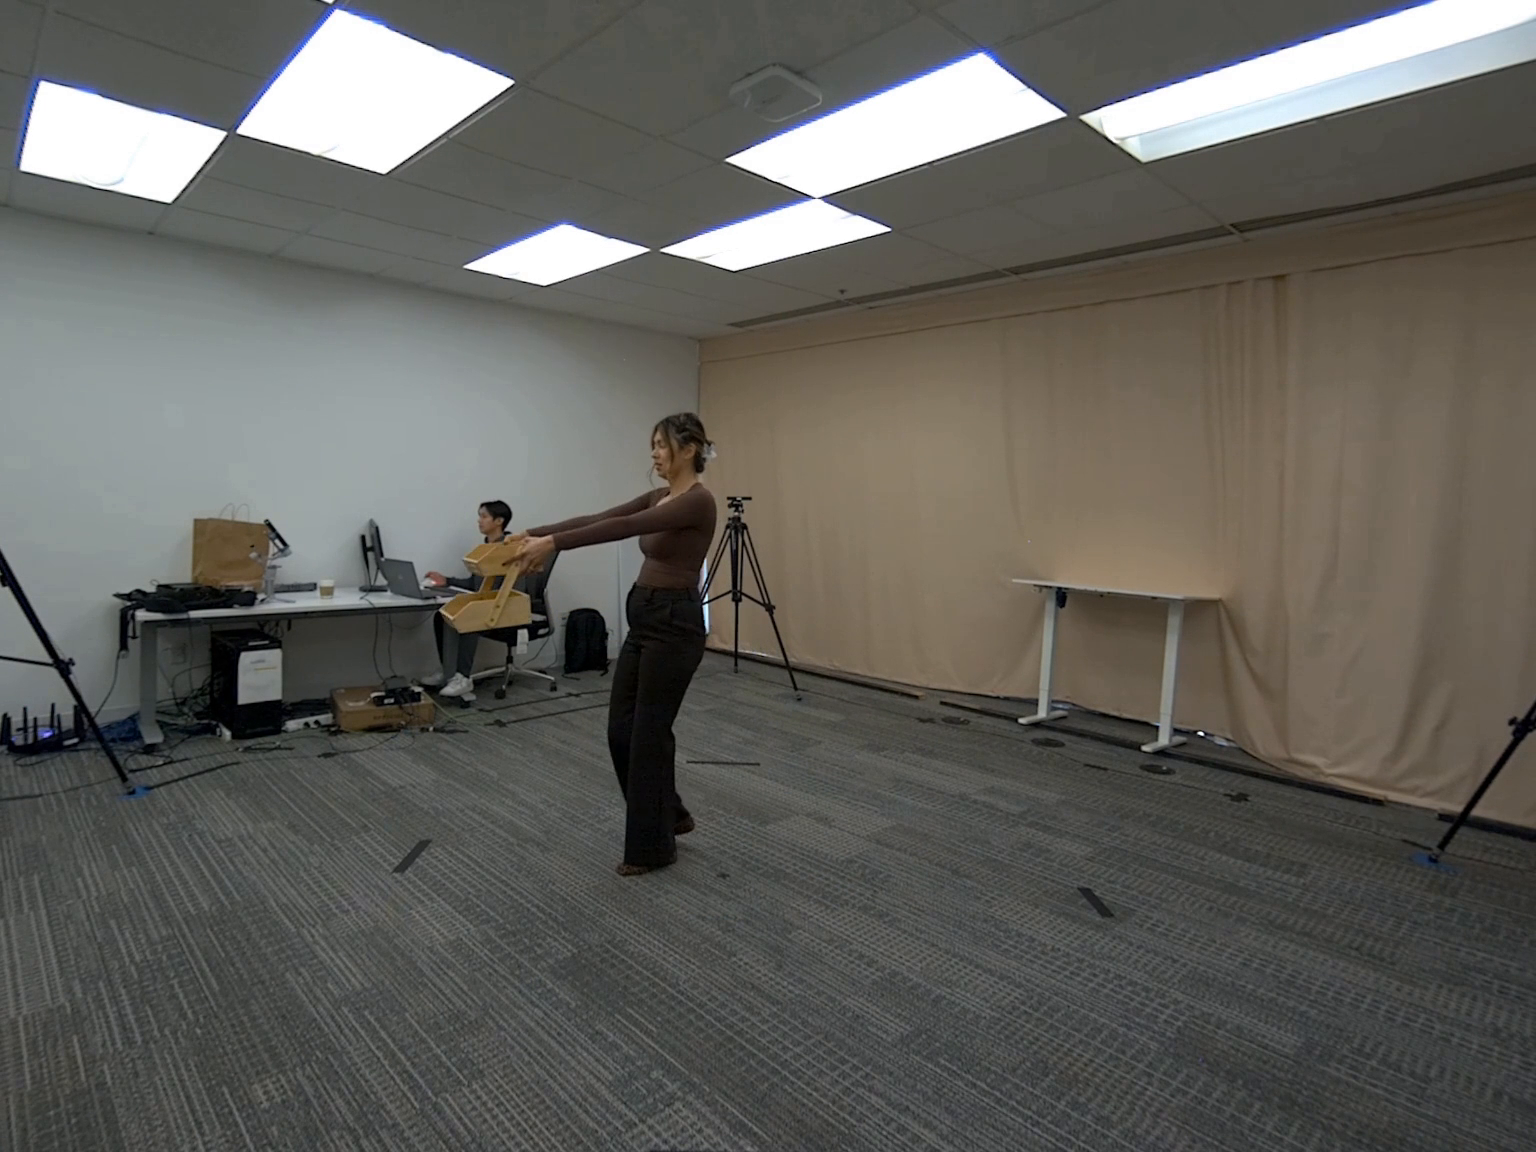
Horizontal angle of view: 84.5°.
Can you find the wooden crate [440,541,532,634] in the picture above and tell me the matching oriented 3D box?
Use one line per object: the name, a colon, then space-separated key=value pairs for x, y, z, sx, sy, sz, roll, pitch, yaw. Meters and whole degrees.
wooden crate: x=-0.948 y=0.027 z=2.829 sx=0.297 sy=0.272 sz=0.331 roll=-6 pitch=5 yaw=-27
